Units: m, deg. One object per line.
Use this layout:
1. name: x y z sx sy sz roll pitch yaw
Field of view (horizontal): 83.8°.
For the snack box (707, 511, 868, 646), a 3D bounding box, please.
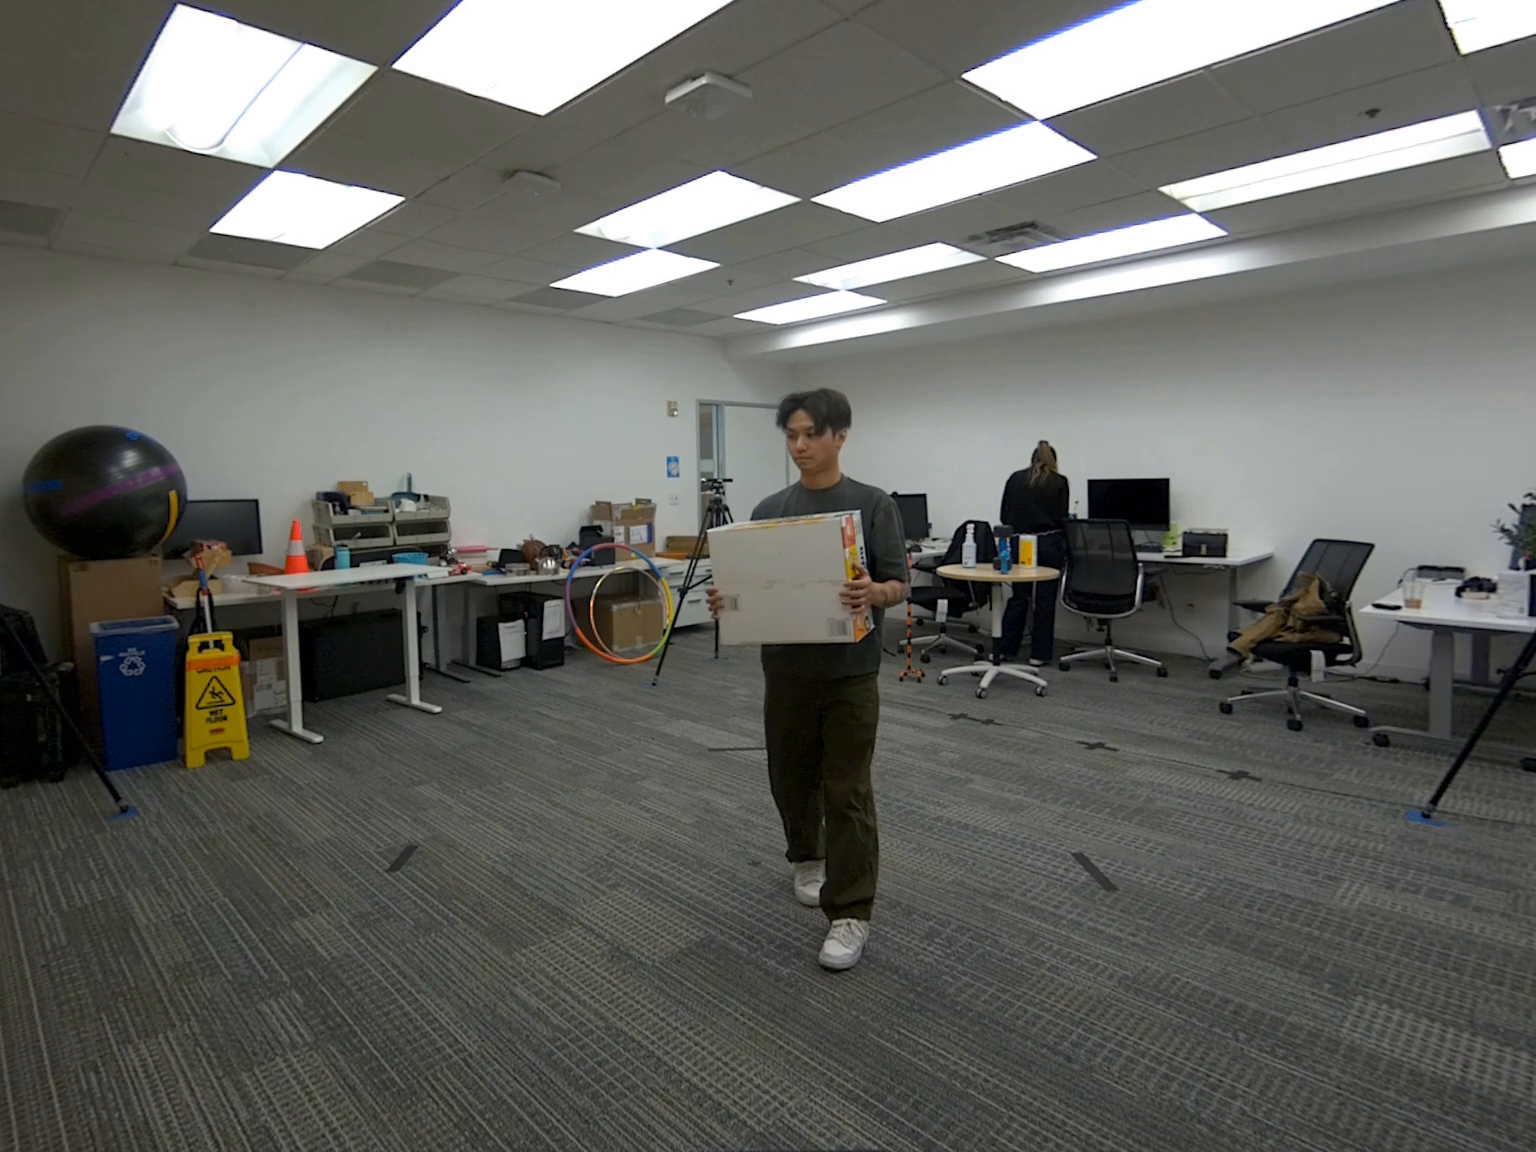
1. snack box: 0.061 0.005 2.455 0.413 0.339 0.202 -4 5 25
